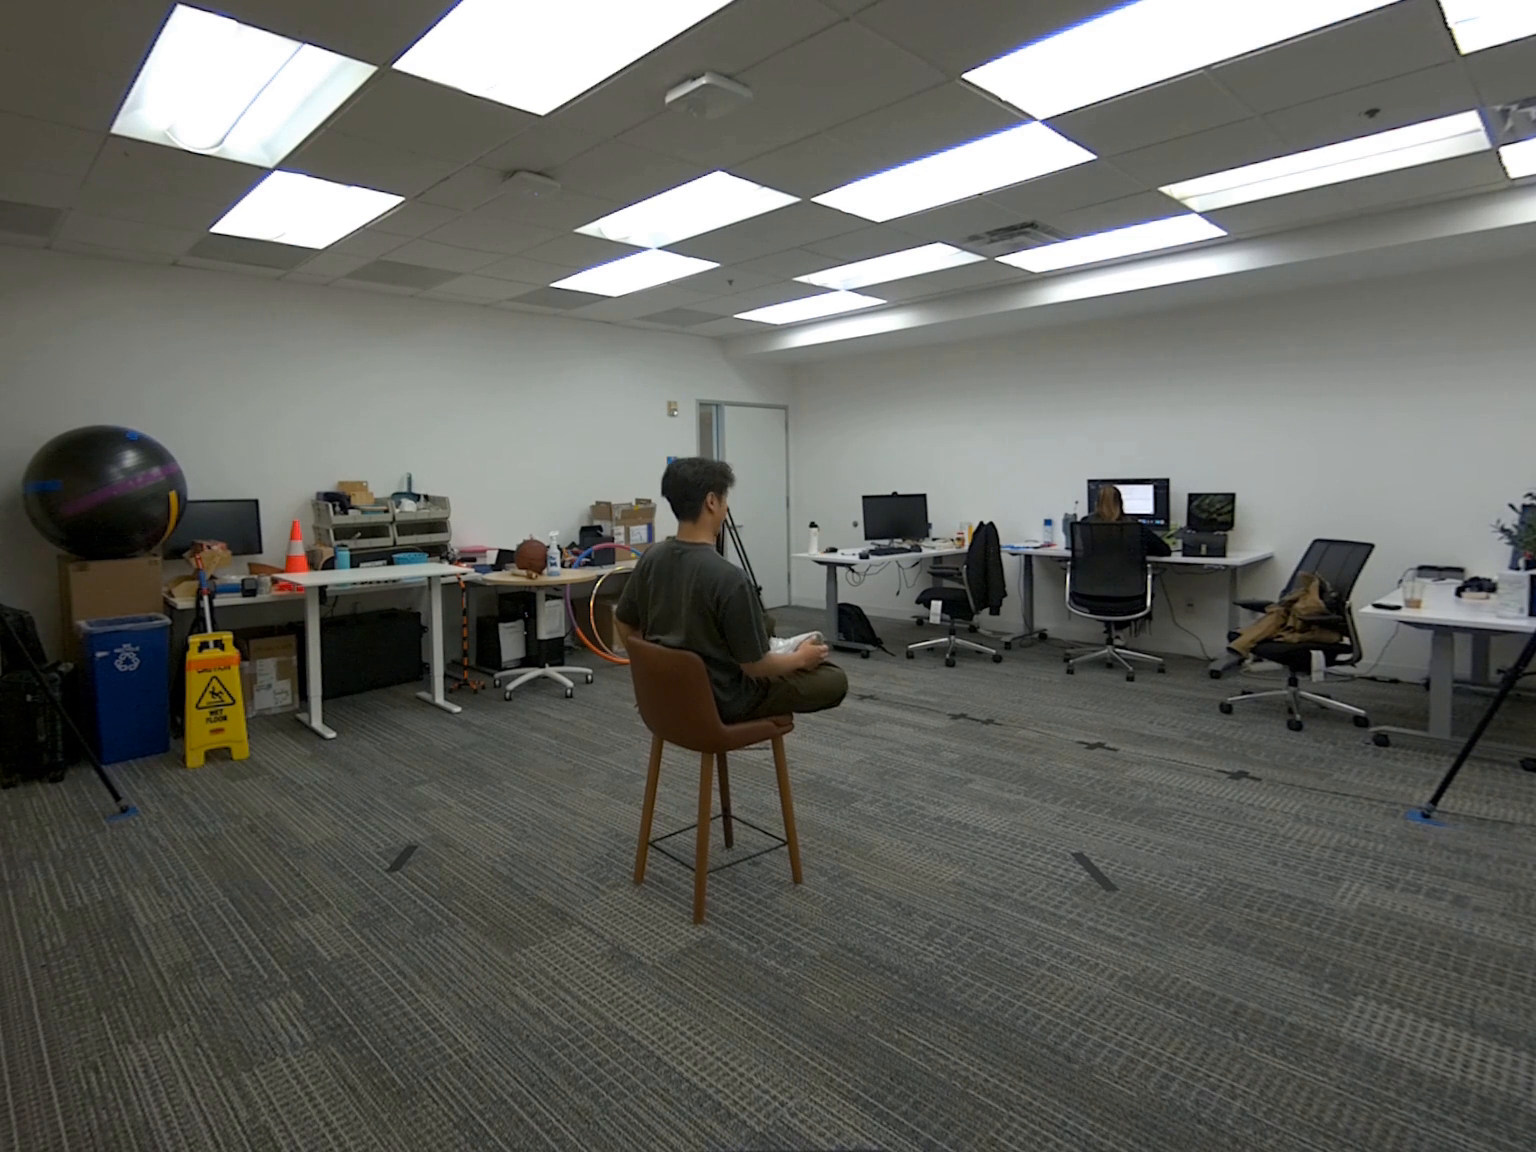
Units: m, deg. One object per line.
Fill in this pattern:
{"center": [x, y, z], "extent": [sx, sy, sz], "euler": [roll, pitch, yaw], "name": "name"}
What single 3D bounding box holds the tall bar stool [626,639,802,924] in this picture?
{"center": [-0.190, 0.631, 2.938], "extent": [0.456, 0.885, 0.470], "euler": [-7, 7, -39], "name": "tall bar stool"}
